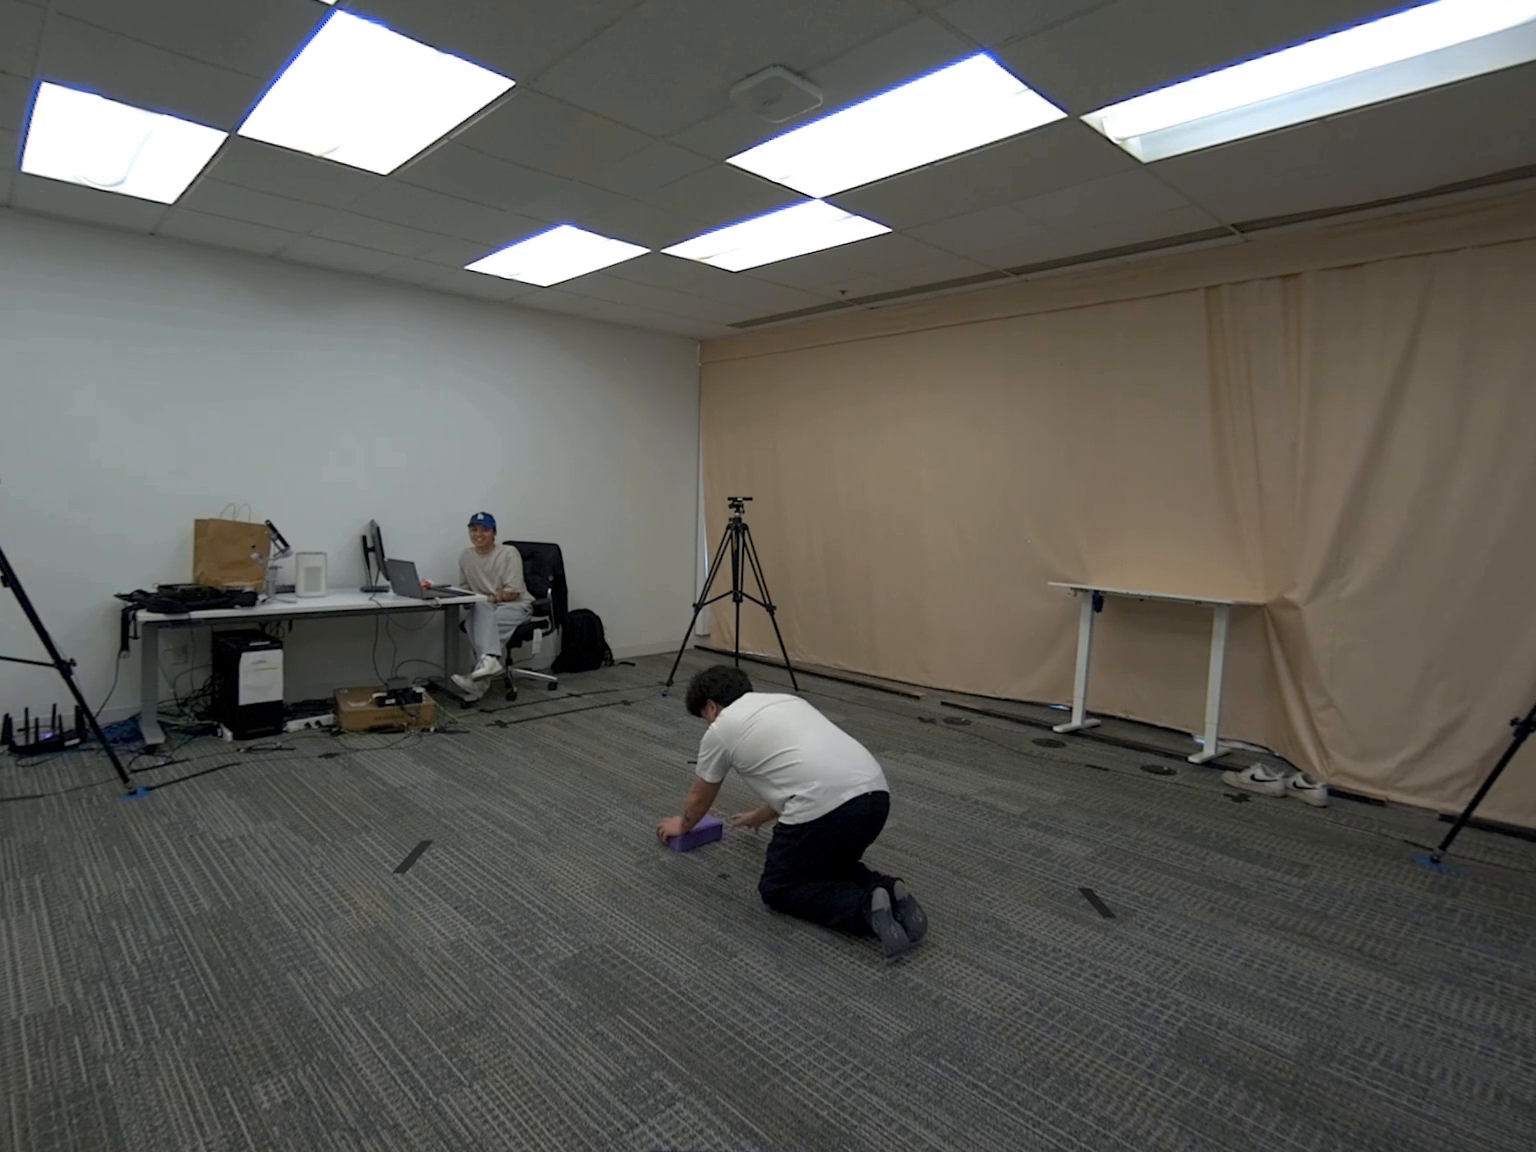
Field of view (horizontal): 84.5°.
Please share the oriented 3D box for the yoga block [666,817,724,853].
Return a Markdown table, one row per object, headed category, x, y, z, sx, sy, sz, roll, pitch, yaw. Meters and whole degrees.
| category | x | y | z | sx | sy | sz | roll | pitch | yaw |
| --- | --- | --- | --- | --- | --- | --- | --- | --- | --- |
| yoga block | -0.320 | 1.038 | 3.425 | 0.224 | 0.076 | 0.153 | -5 | 8 | -44 |
